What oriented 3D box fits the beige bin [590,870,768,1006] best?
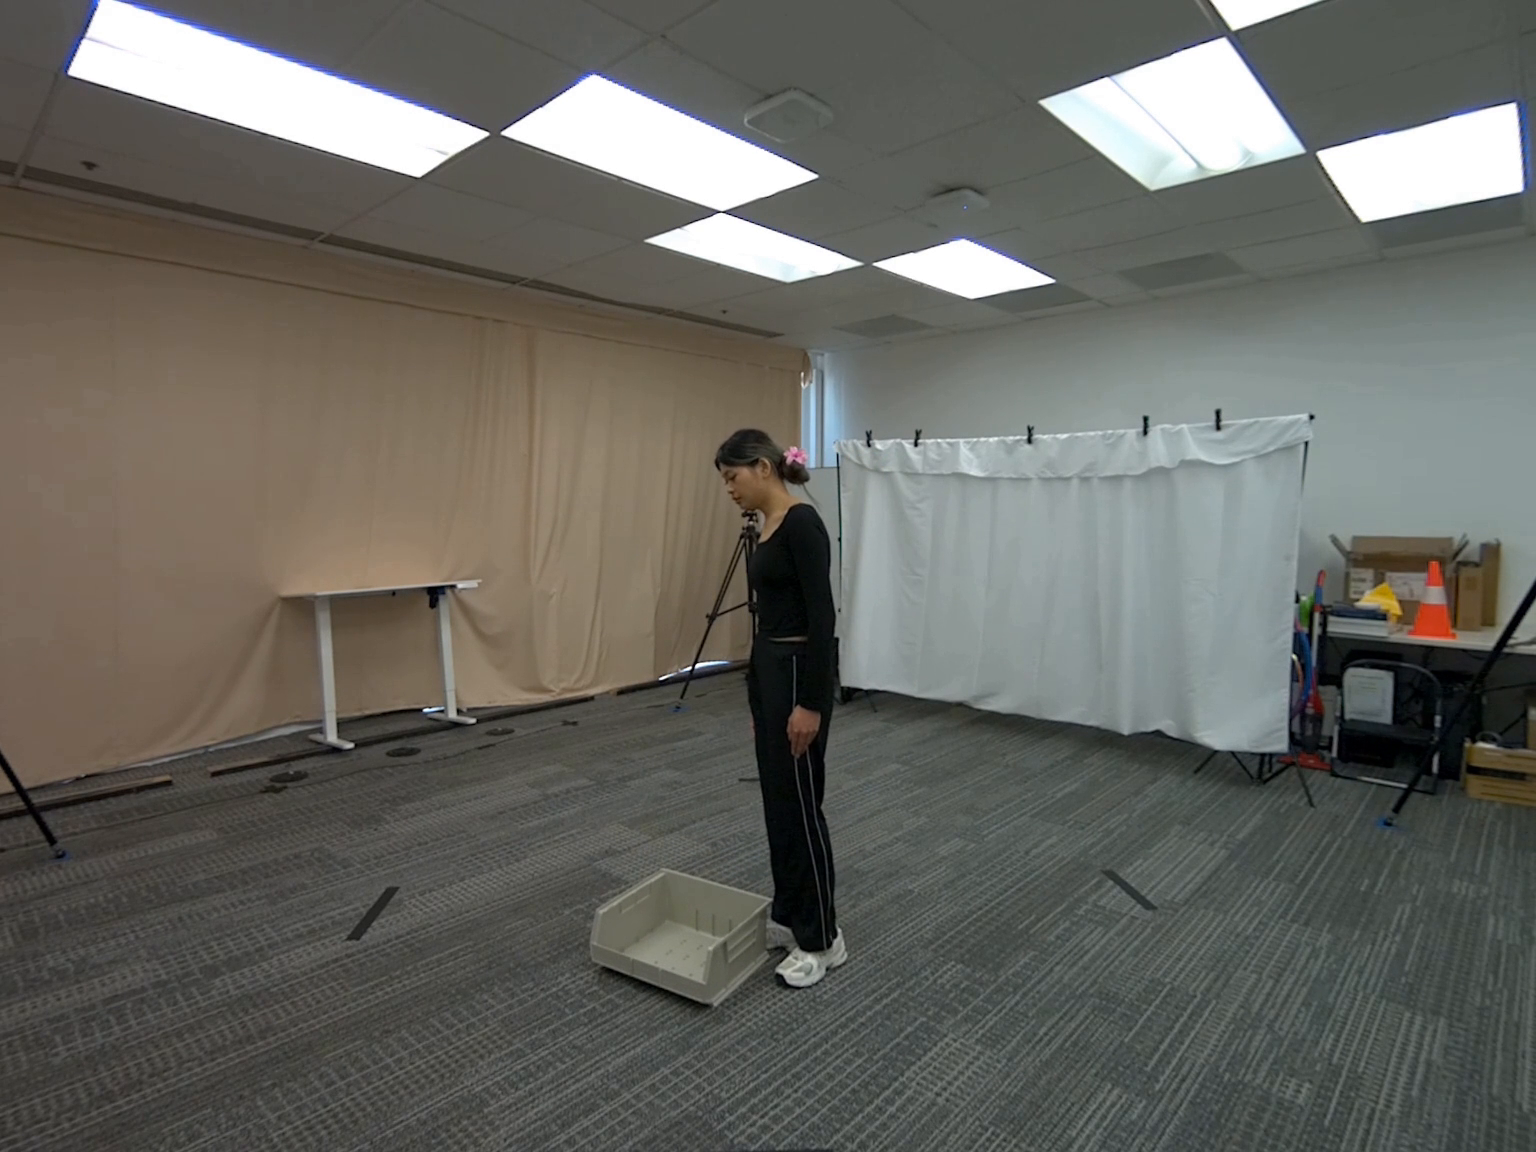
[{"bbox_3d":[-0.257,1.092,2.557,0.435,0.189,0.367,2,4,31],"label":"beige bin"}]
